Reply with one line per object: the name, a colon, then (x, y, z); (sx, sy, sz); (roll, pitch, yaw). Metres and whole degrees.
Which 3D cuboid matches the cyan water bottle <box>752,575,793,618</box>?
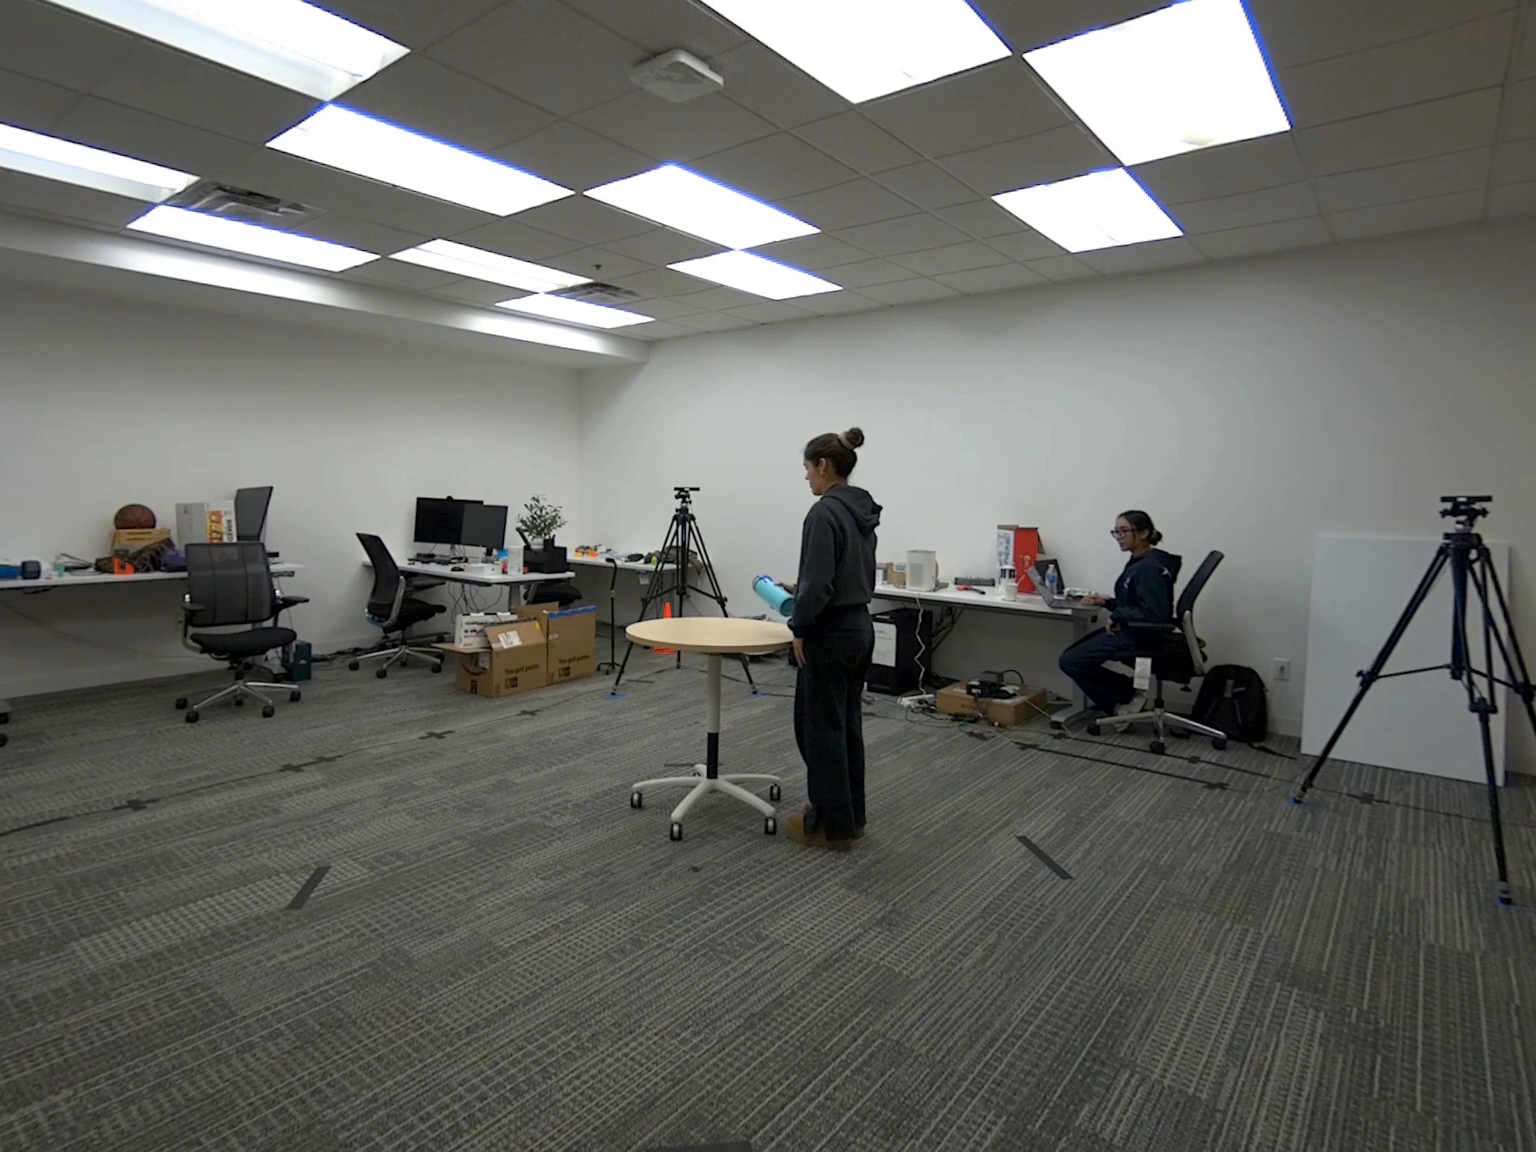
cyan water bottle: (0.015, 0.060, 3.571); (0.090, 0.091, 0.294); (-2, 21, -28)
